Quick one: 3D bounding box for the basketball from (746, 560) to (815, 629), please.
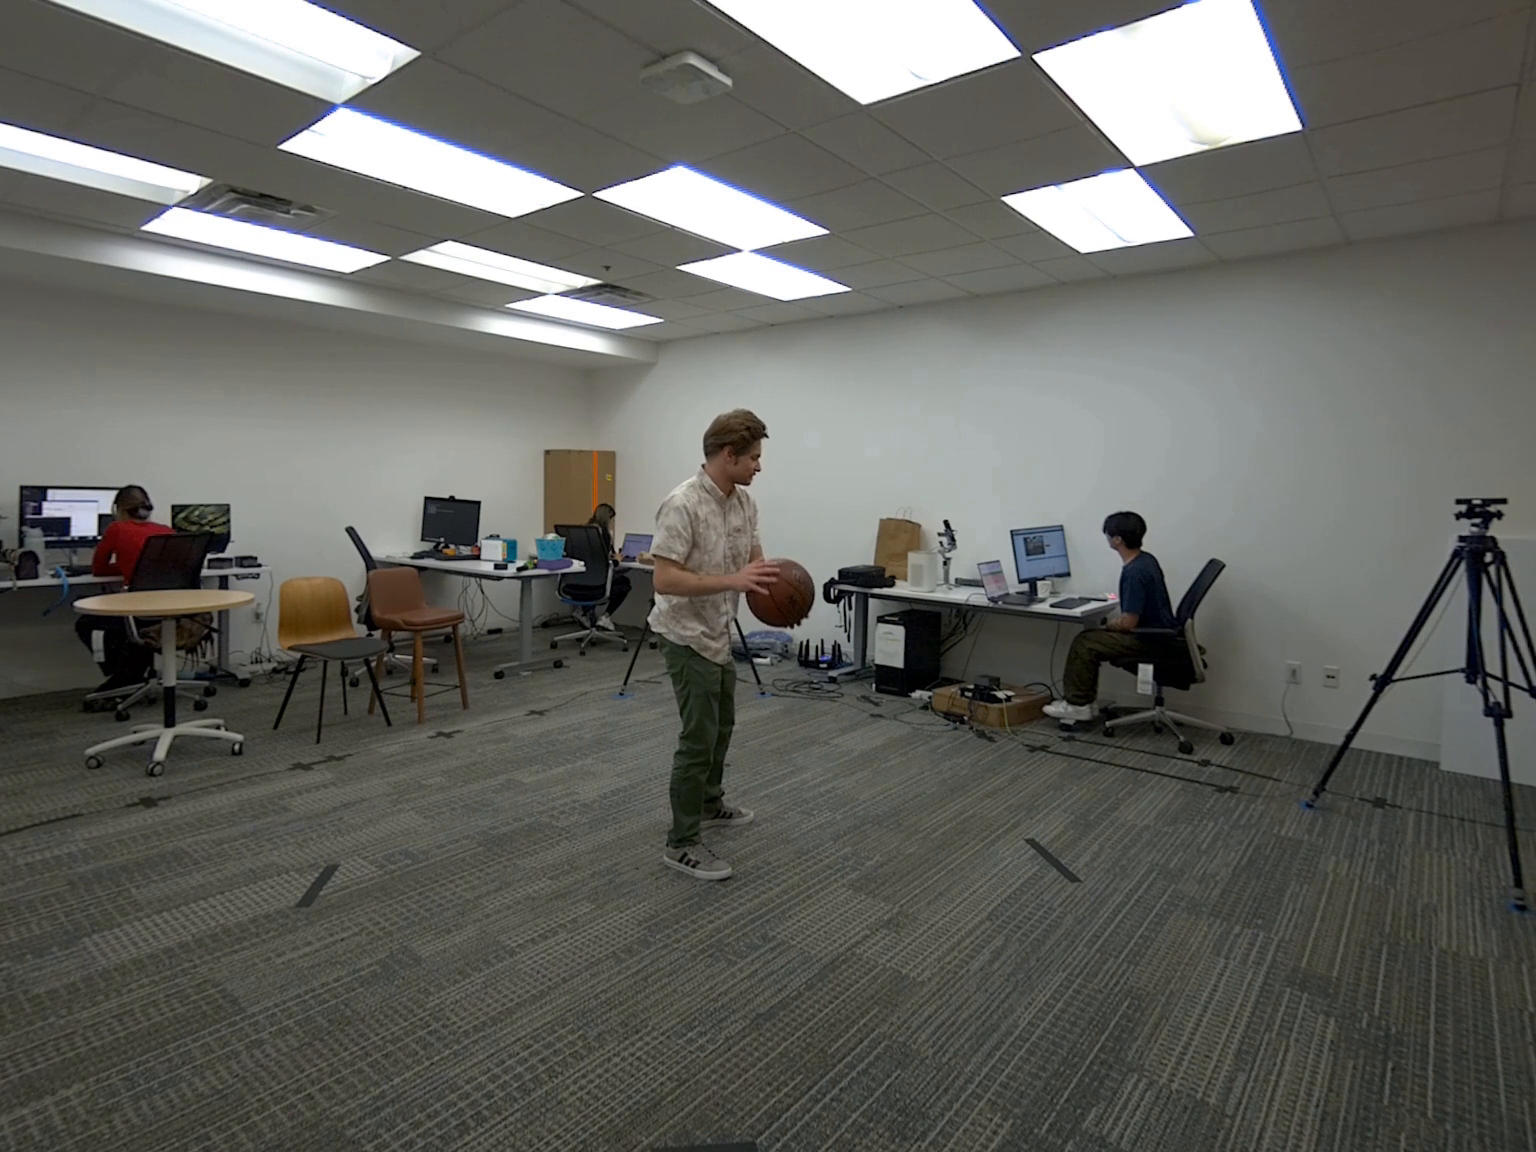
[{"bbox_3d":[0.025,0.052,2.940,0.236,0.235,0.237,1,4,-2],"label":"basketball"}]
